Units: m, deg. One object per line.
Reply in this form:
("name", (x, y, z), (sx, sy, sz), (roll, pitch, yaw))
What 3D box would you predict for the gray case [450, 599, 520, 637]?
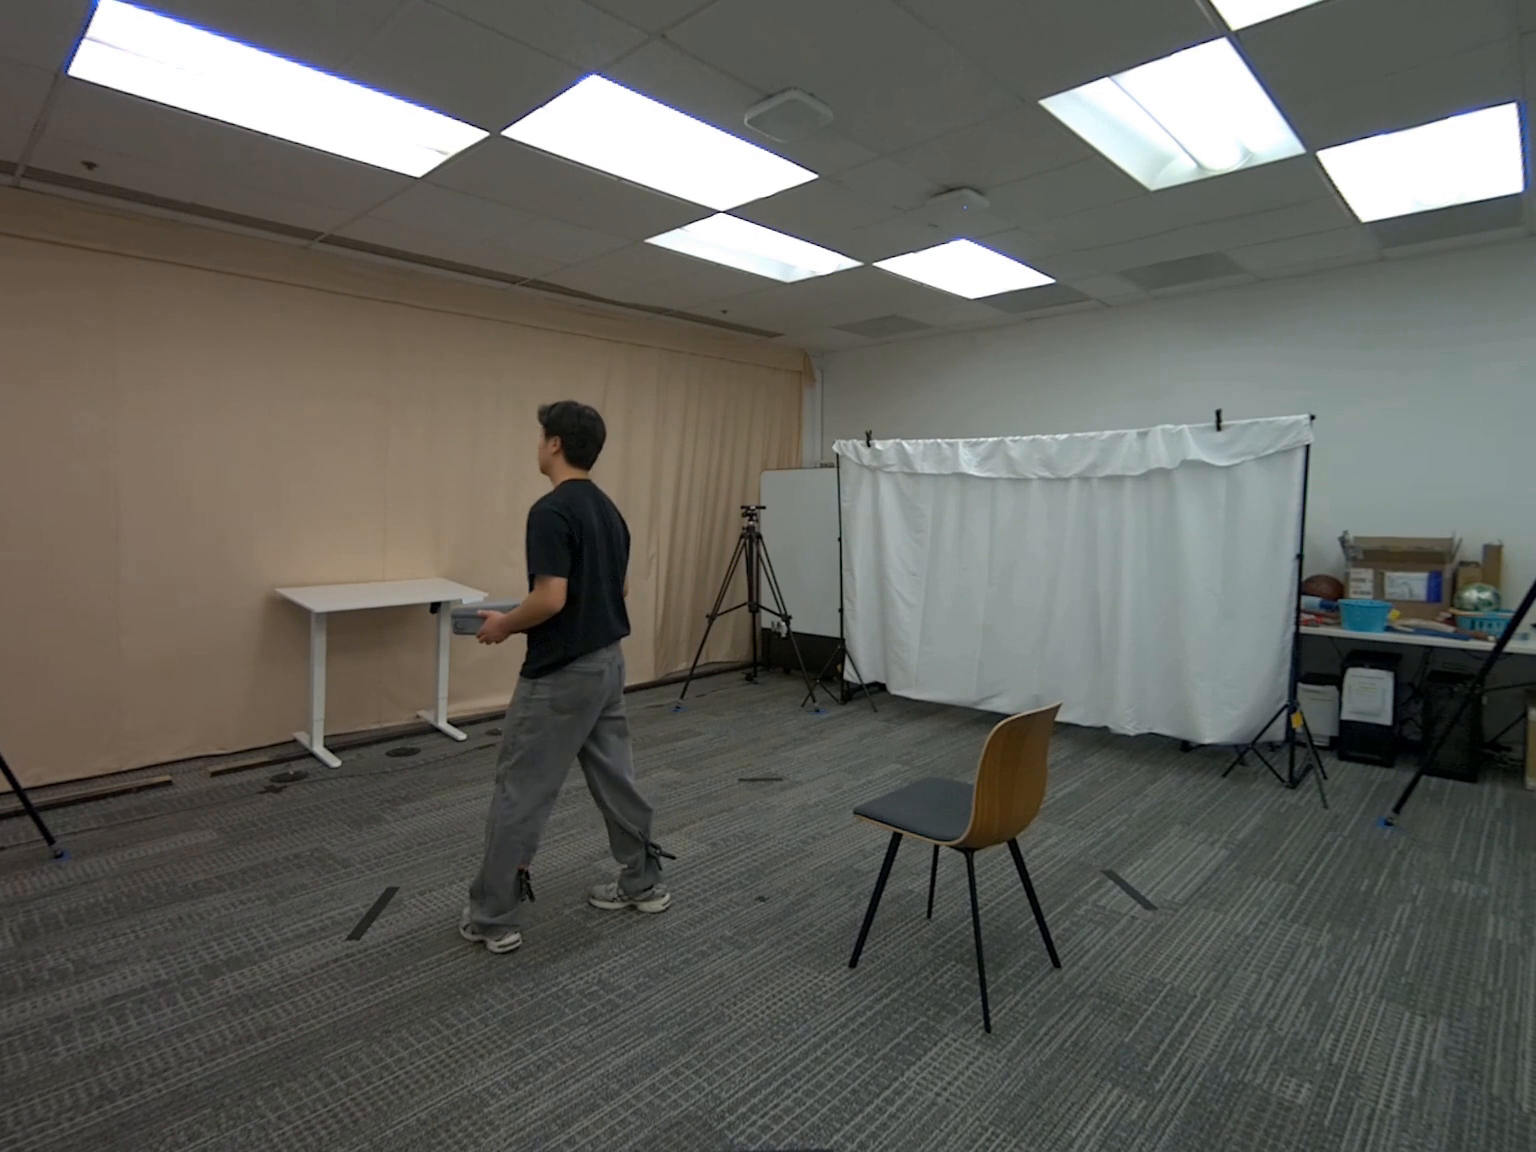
("gray case", (-0.937, 0.134, 2.902), (0.293, 0.103, 0.258), (-2, 3, 20))
